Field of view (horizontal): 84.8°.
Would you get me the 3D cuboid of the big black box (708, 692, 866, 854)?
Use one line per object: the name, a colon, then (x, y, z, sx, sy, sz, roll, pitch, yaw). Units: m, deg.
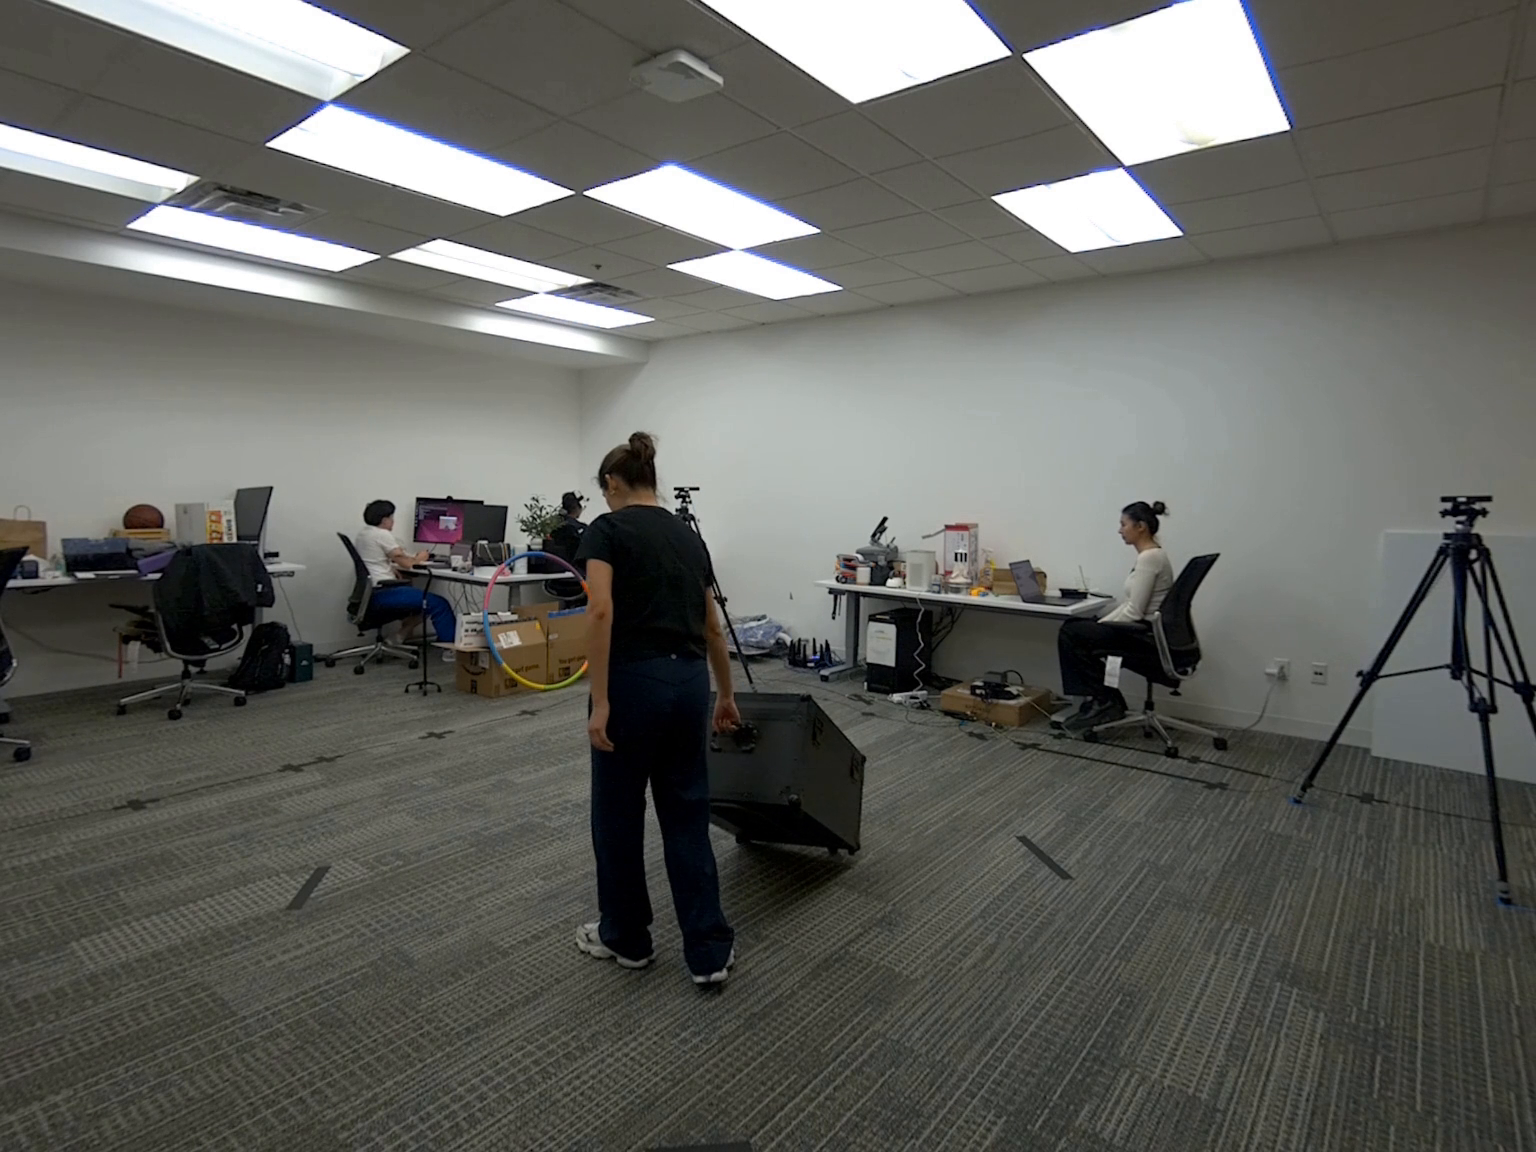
big black box: (0.037, 0.731, 3.076, 0.533, 0.403, 0.827, -2, -27, 23)
